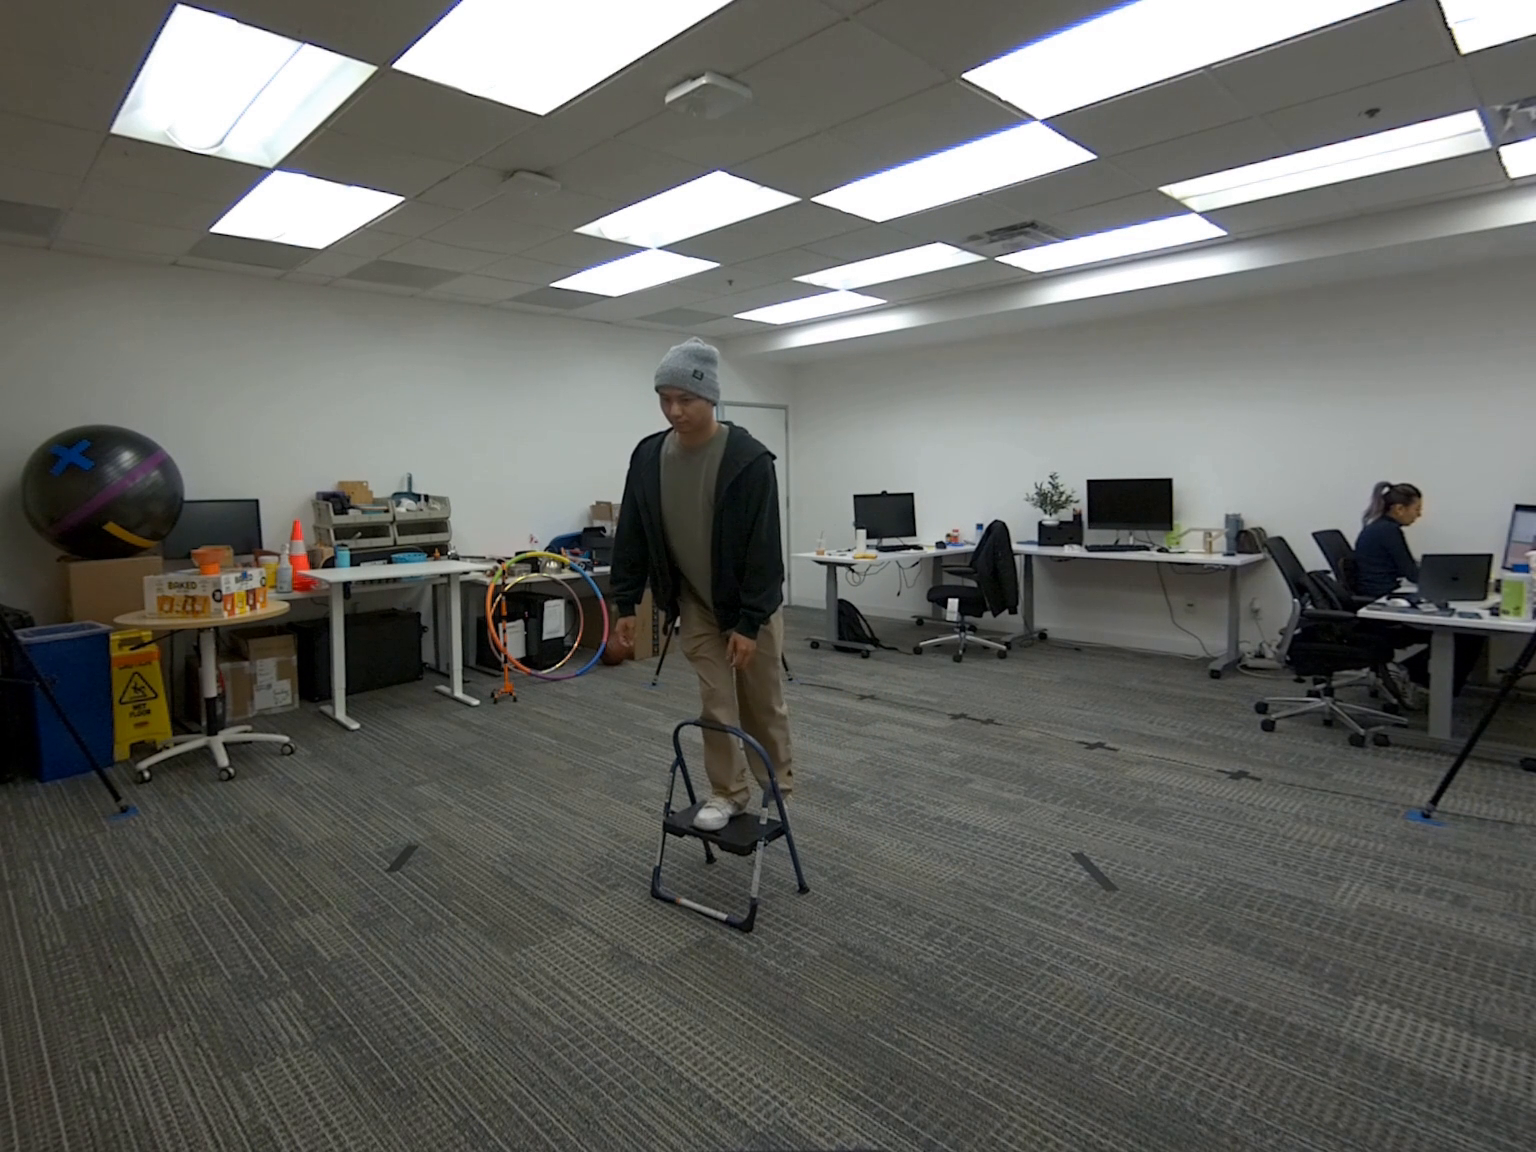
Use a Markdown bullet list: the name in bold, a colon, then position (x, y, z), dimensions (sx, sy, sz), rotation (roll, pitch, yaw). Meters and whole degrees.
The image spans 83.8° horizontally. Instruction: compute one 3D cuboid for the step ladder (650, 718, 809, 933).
- **step ladder**: position (-0.137, 0.775, 2.862), dimensions (0.443, 0.603, 0.341), rotation (2, 6, 35)
